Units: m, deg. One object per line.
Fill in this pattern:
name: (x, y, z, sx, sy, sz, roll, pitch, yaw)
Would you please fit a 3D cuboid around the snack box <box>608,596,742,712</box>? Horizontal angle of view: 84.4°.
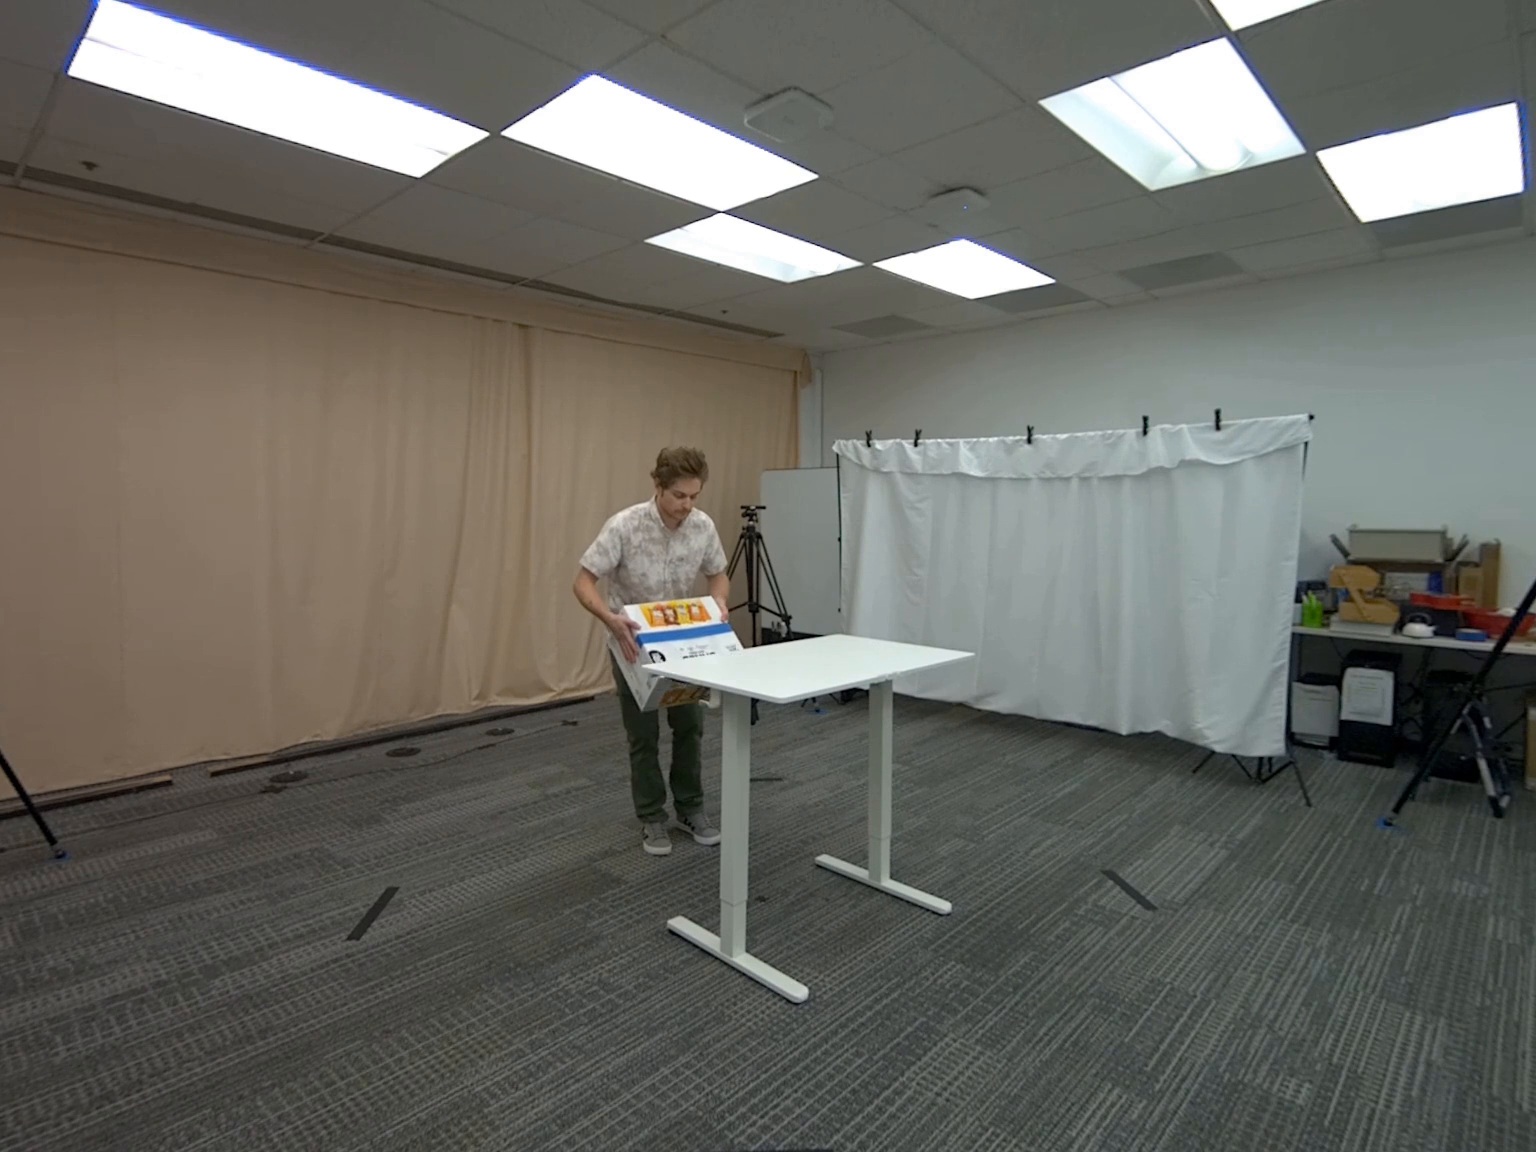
snack box: (-0.334, 0.291, 3.162, 0.393, 0.205, 0.351, -5, 46, -36)
